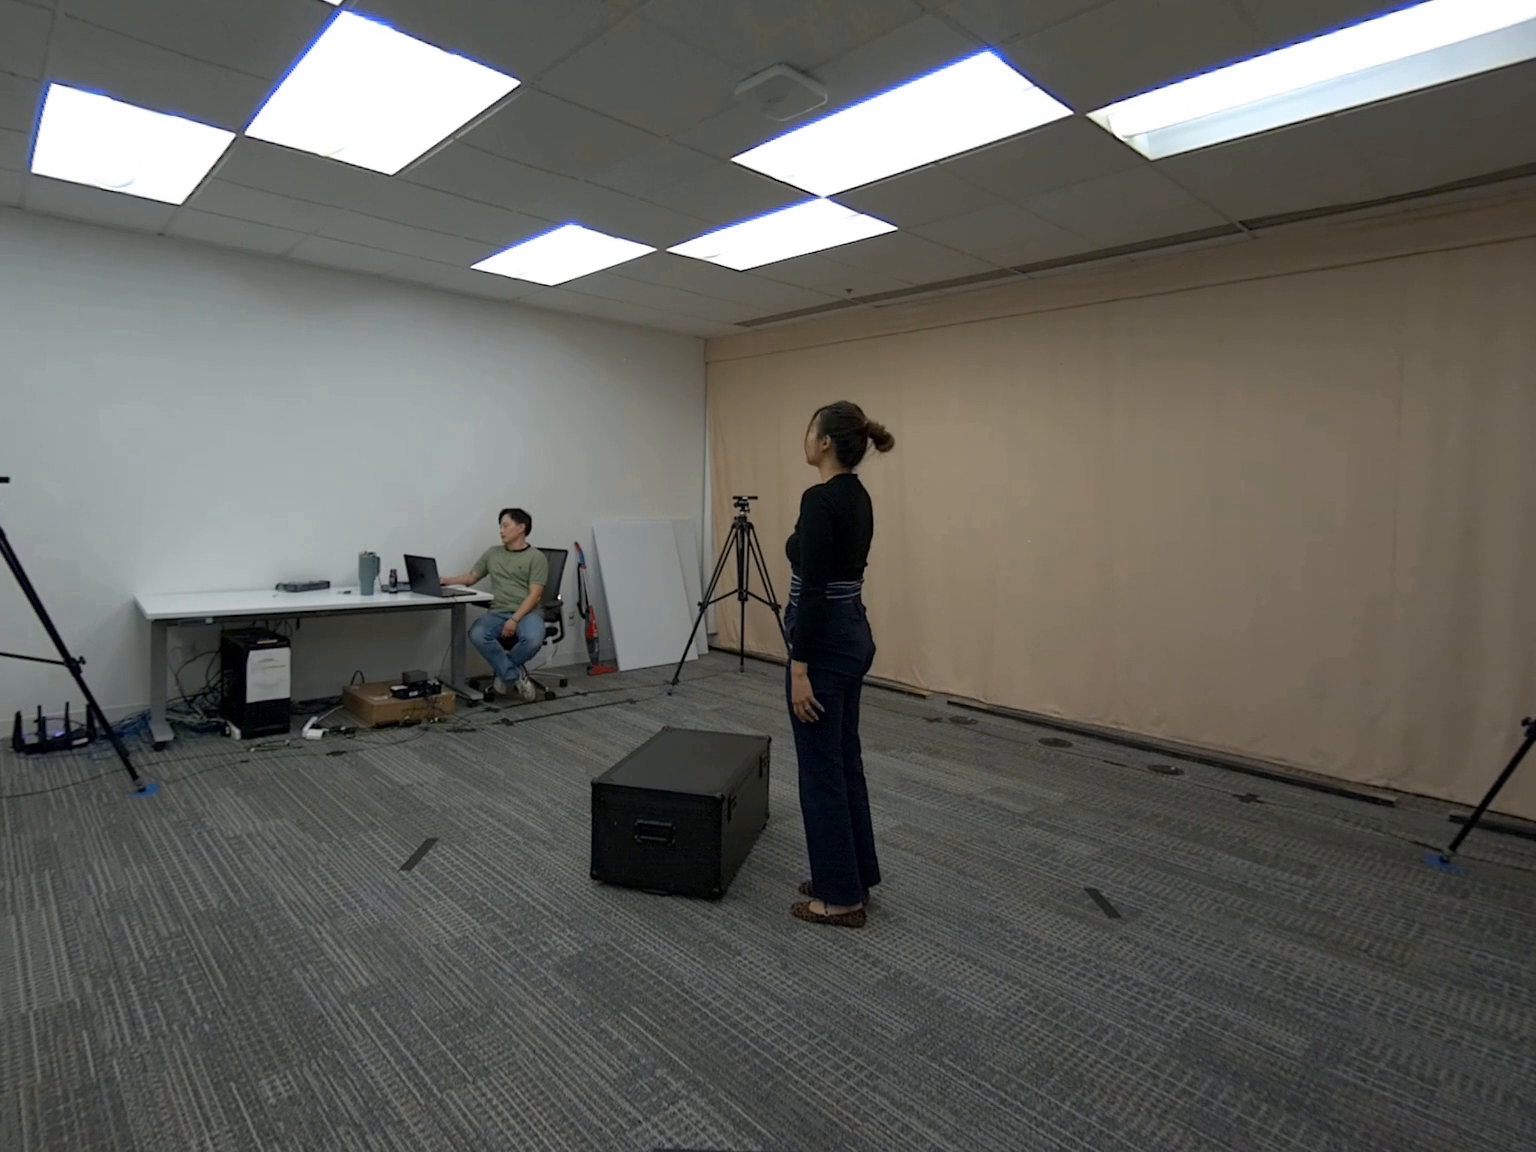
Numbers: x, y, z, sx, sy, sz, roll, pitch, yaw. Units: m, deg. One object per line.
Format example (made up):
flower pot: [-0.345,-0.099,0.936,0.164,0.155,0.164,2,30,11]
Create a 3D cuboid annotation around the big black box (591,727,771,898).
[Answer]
big black box: [-0.304,0.884,3.327,0.527,0.395,0.854,2,6,13]
